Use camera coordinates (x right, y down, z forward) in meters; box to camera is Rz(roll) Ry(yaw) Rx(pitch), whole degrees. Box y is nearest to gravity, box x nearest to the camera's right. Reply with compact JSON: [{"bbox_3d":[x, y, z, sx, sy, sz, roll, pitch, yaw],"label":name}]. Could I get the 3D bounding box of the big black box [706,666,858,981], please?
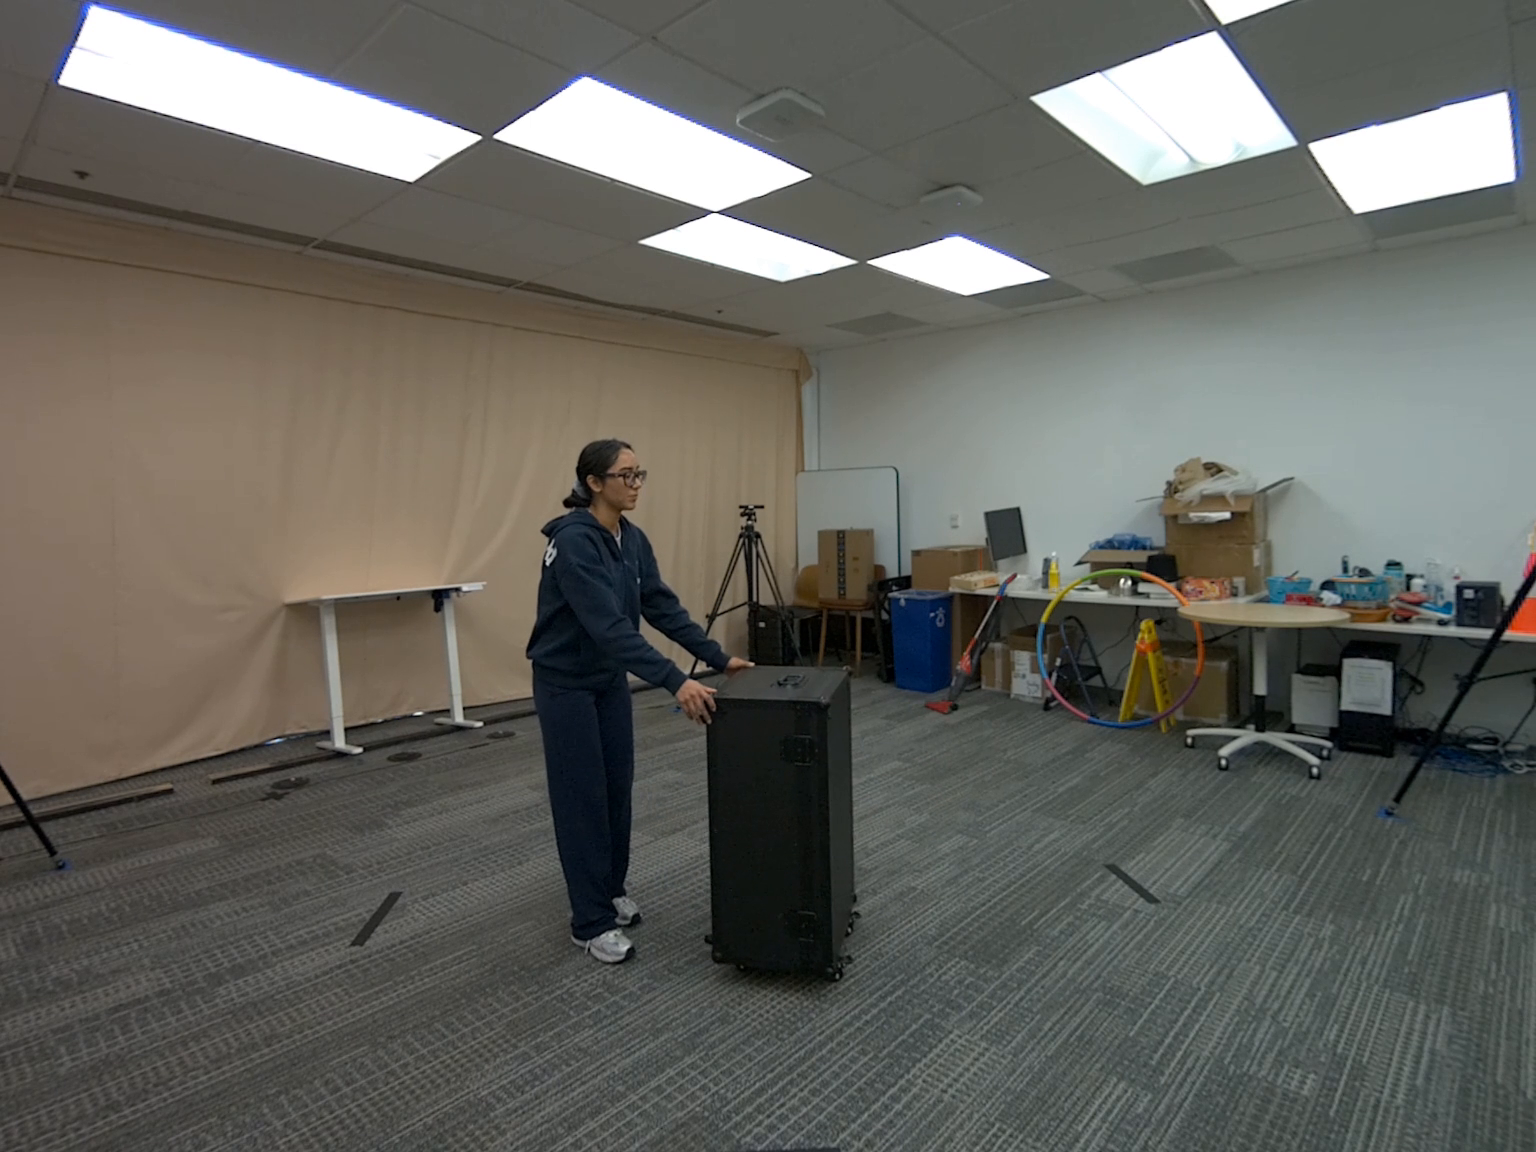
[{"bbox_3d":[0.048,0.749,2.598,0.403,0.860,0.513,-2,3,15],"label":"big black box"}]
